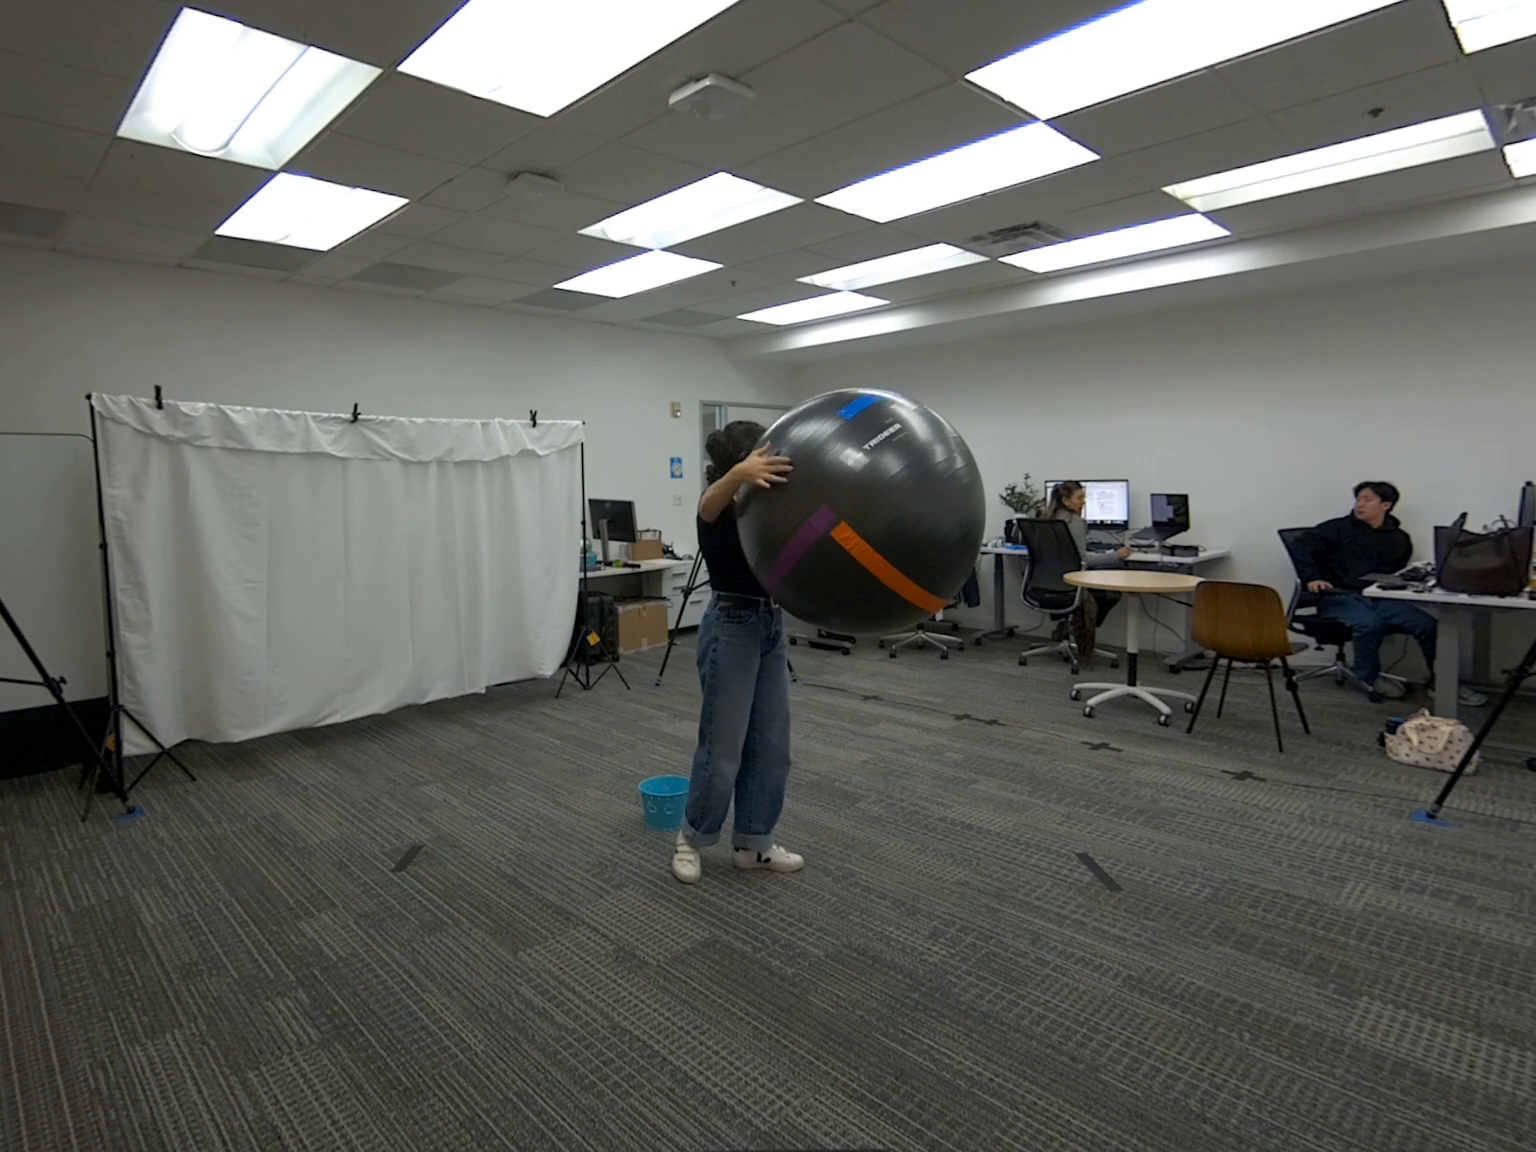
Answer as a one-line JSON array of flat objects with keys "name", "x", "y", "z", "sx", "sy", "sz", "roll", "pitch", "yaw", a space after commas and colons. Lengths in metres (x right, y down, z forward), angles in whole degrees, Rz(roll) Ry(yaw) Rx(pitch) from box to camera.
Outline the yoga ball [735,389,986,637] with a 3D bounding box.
[{"name": "yoga ball", "x": 0.282, "y": -0.189, "z": 2.627, "sx": 0.757, "sy": 0.755, "sz": 0.762, "roll": -1, "pitch": 5, "yaw": -2}]
